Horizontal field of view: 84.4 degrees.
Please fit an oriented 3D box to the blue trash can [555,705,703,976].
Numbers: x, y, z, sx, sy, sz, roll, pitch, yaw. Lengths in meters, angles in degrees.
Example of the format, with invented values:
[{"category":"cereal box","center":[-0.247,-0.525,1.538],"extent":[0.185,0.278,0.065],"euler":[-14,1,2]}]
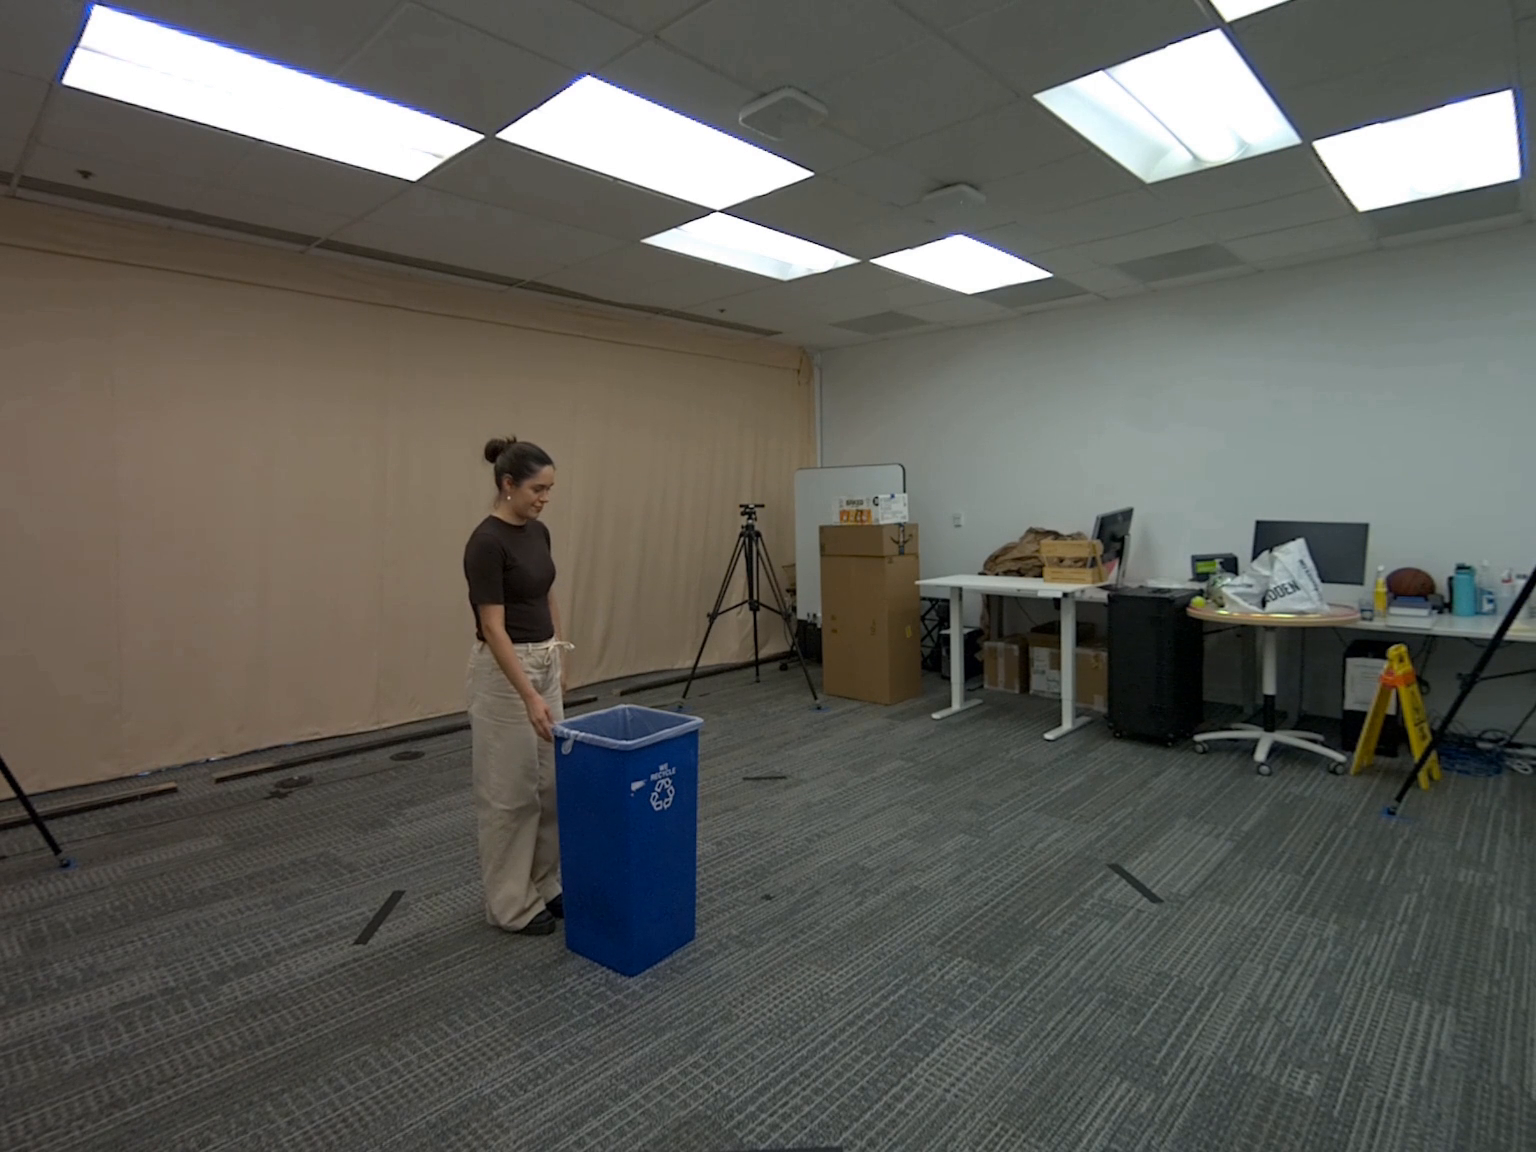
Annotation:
[{"category":"blue trash can","center":[-0.441,0.815,2.680],"extent":[0.390,0.712,0.363],"euler":[2,4,37]}]
